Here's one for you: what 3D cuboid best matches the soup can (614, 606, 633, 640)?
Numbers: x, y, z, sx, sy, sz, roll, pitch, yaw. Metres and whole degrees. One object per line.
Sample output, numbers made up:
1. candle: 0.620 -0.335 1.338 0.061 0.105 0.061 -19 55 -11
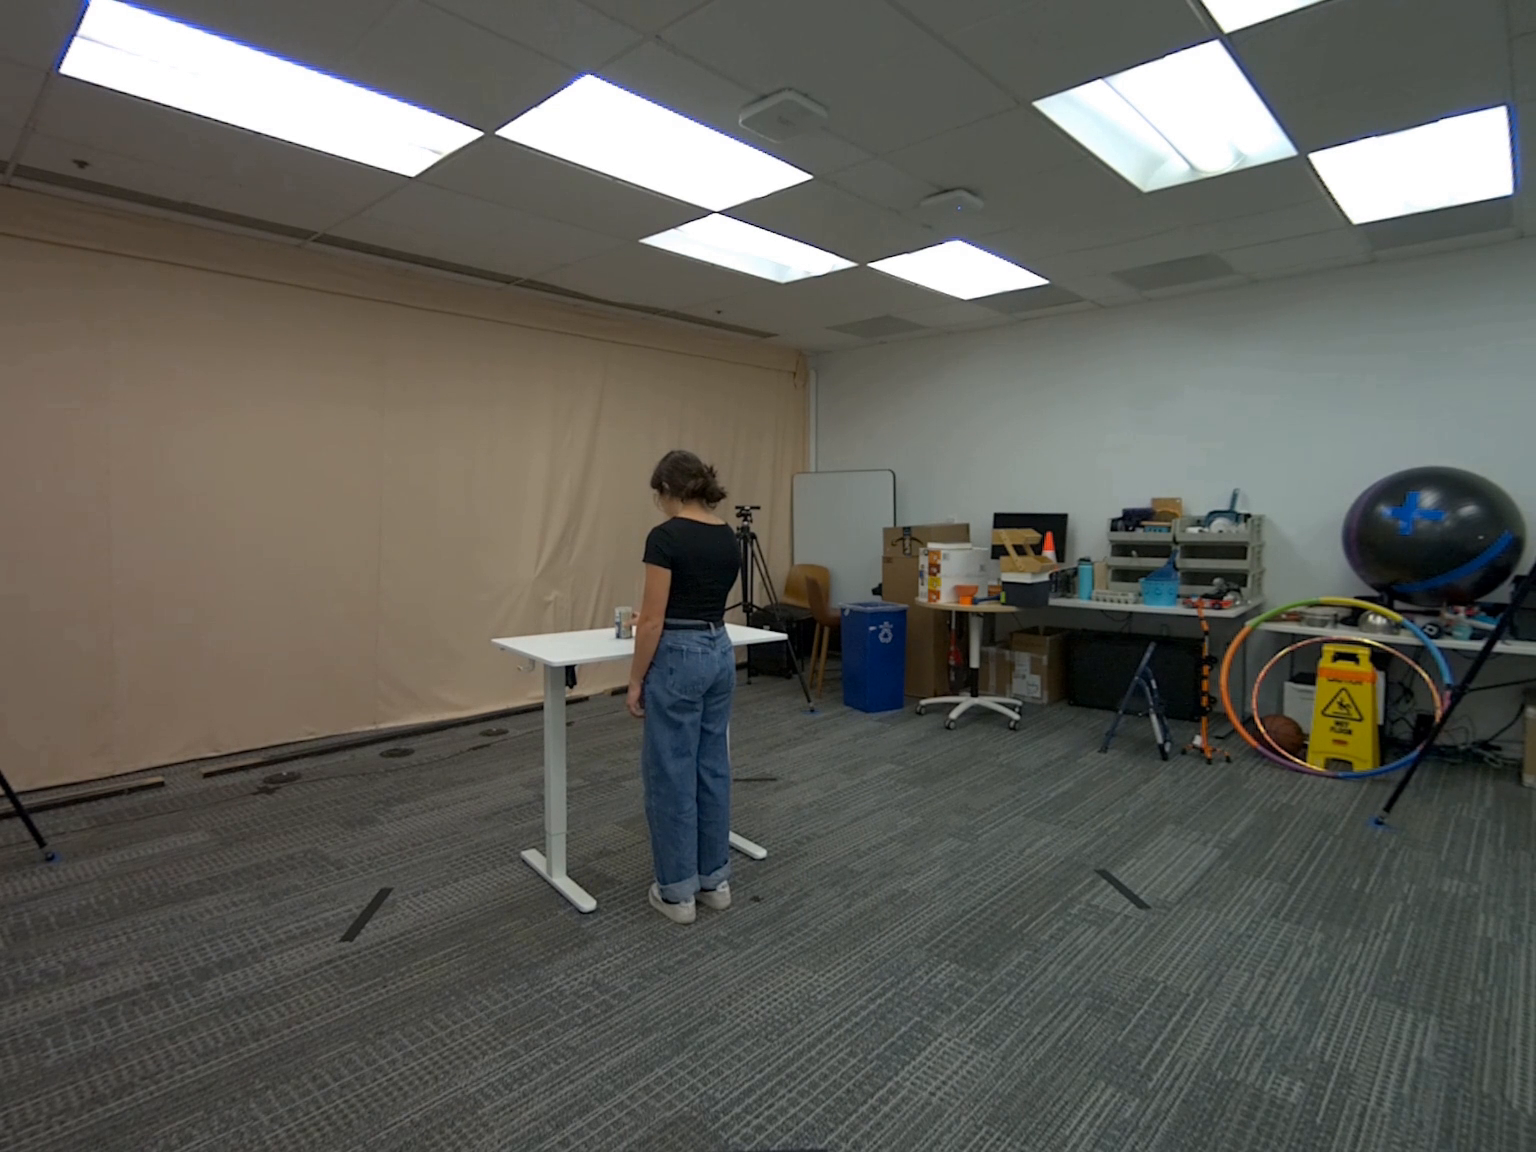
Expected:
1. soup can: -0.564 0.185 3.282 0.067 0.121 0.067 -4 6 -1
